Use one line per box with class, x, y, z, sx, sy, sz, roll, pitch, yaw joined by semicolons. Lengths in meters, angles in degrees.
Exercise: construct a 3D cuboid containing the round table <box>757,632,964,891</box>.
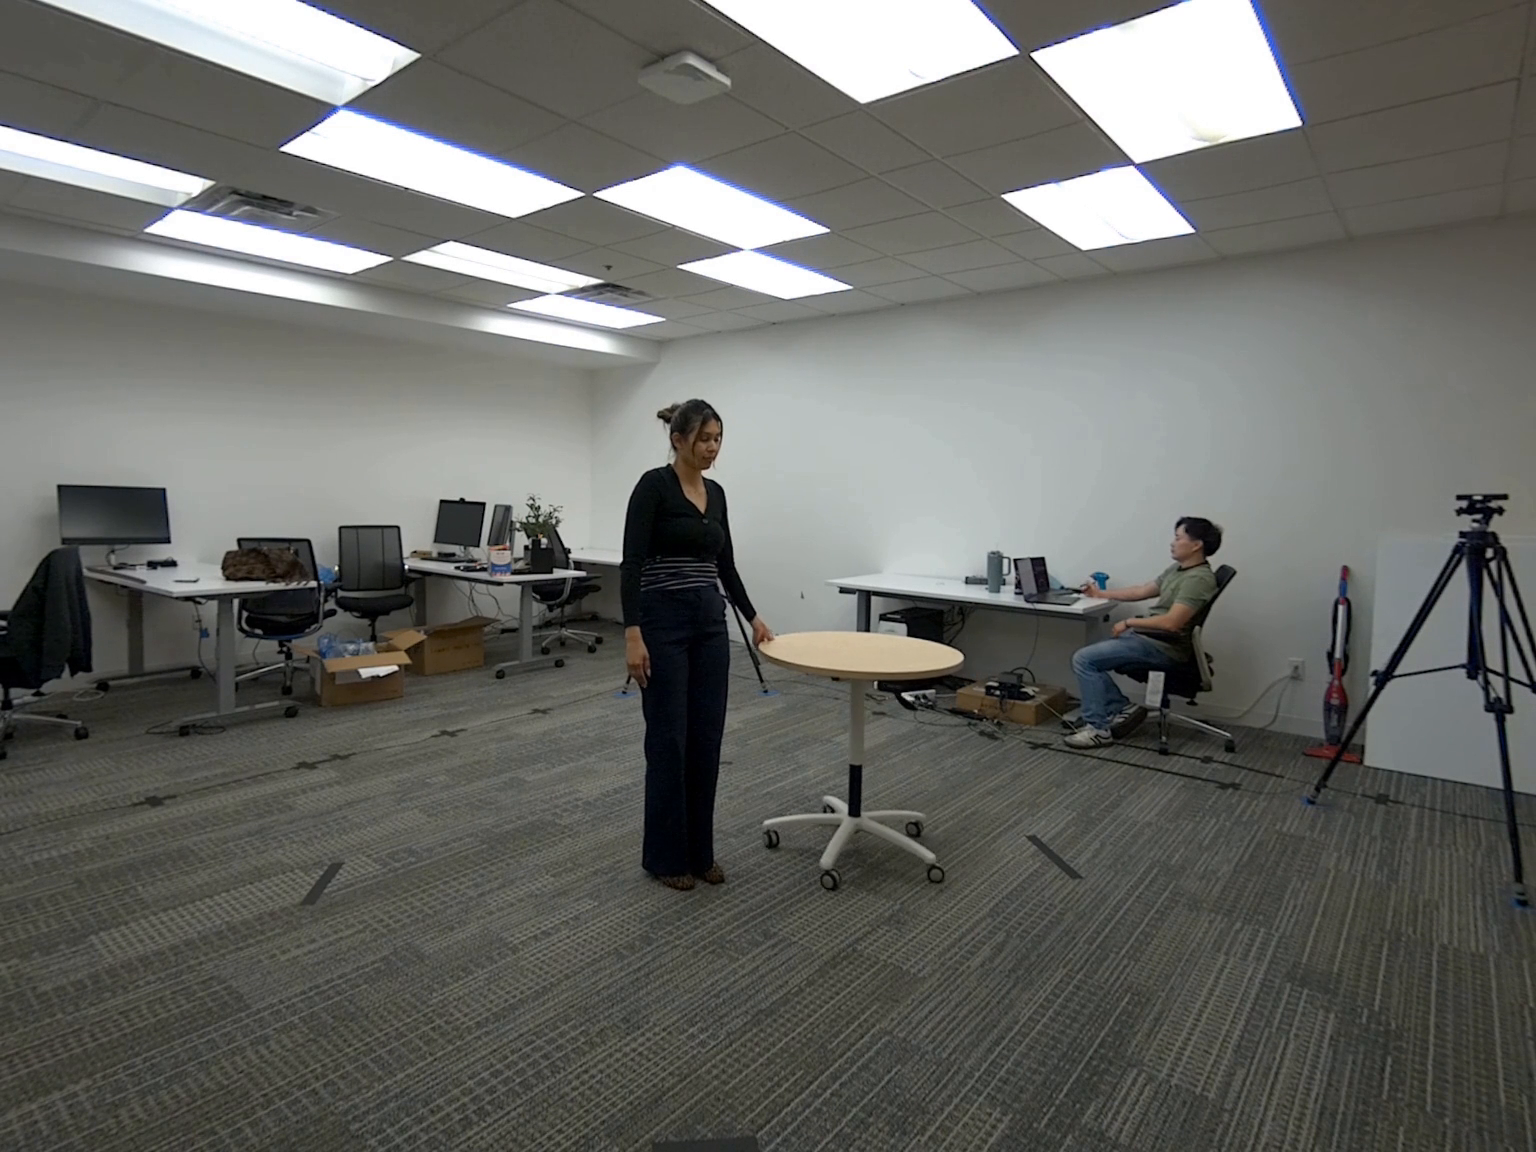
round table;0.329;0.671;3.261;0.763;0.791;0.768;1;5;-2
